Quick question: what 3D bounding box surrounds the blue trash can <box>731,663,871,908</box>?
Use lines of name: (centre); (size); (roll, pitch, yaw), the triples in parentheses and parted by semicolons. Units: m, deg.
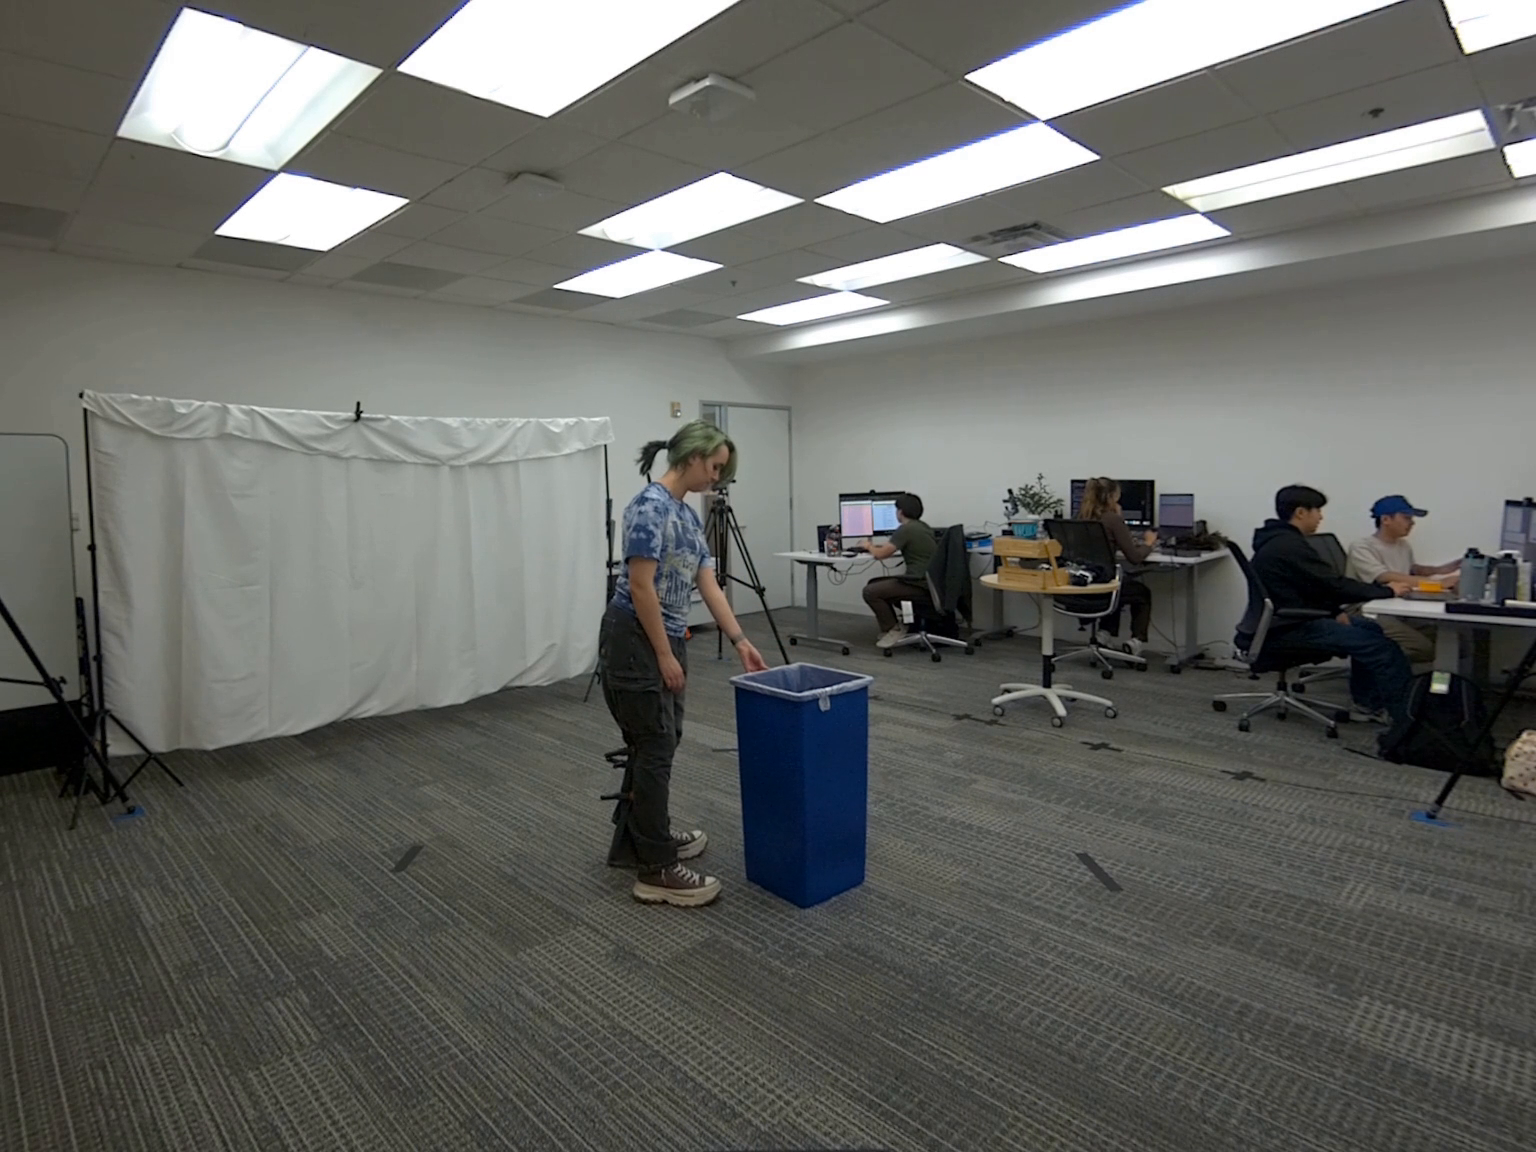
blue trash can: (0.114, 0.699, 2.961); (0.368, 0.711, 0.385); (-4, 5, -41)
